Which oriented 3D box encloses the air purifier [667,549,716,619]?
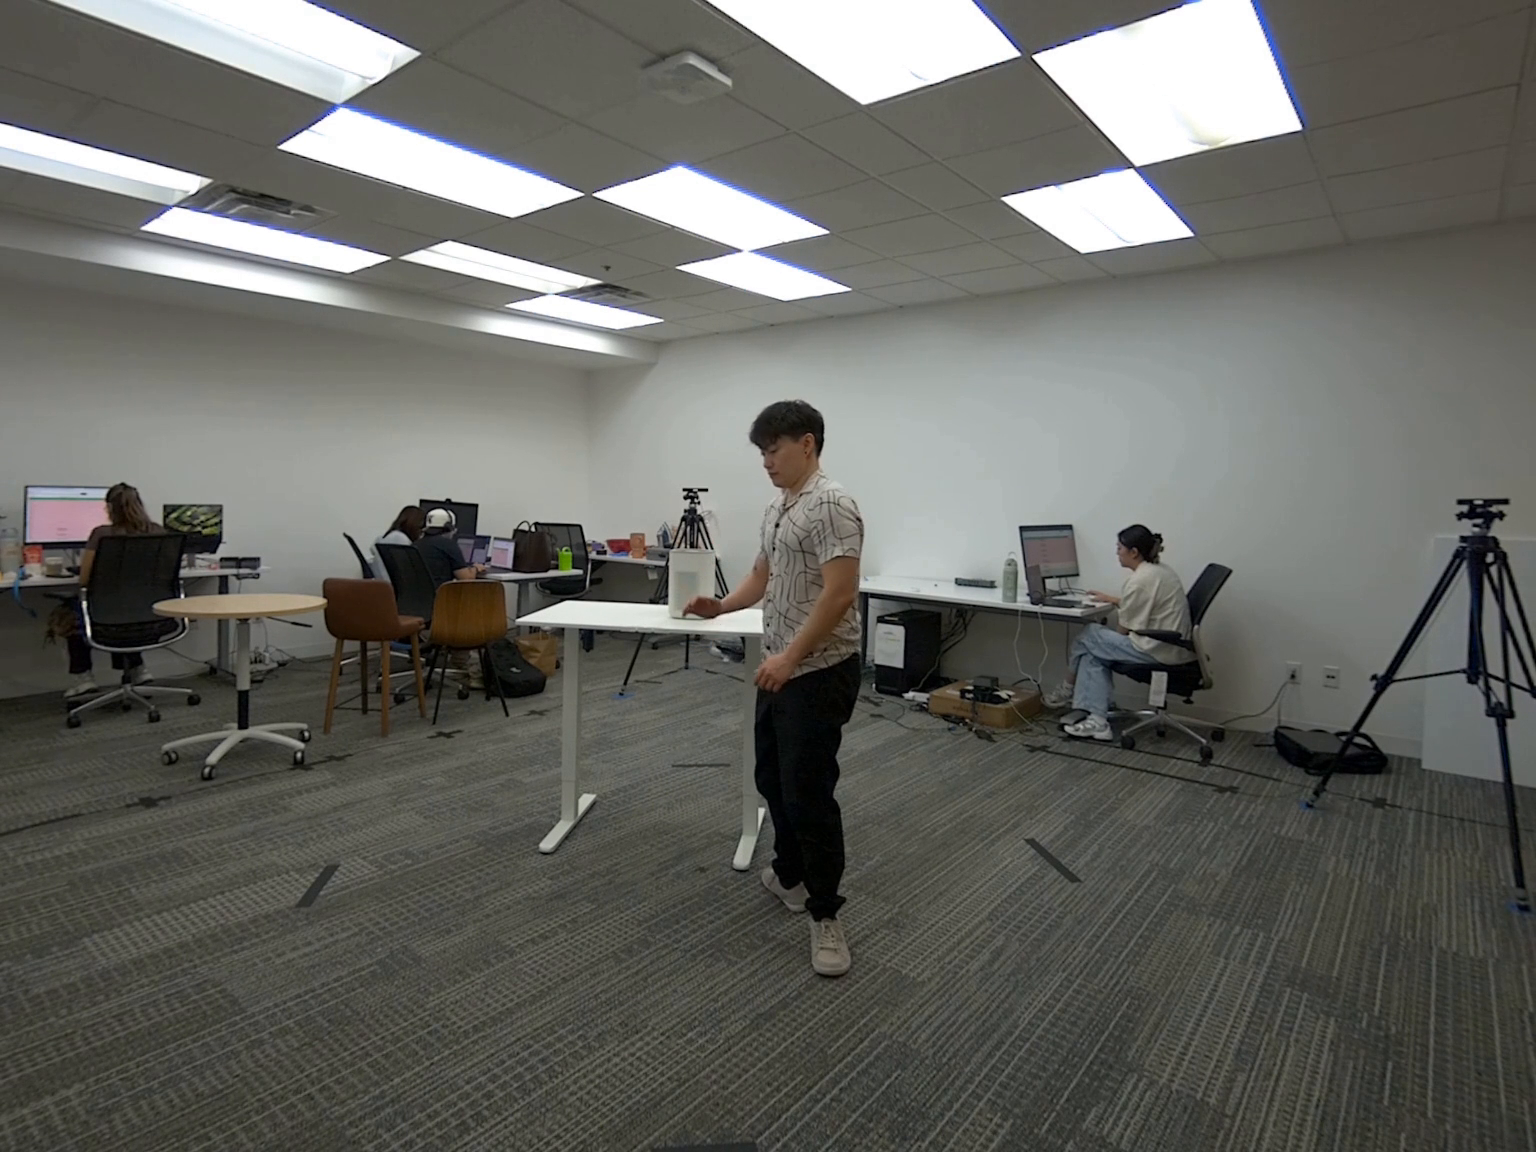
[{"bbox_3d":[-0.316,0.029,3.379,0.173,0.264,0.170,2,4,6],"label":"air purifier"}]
